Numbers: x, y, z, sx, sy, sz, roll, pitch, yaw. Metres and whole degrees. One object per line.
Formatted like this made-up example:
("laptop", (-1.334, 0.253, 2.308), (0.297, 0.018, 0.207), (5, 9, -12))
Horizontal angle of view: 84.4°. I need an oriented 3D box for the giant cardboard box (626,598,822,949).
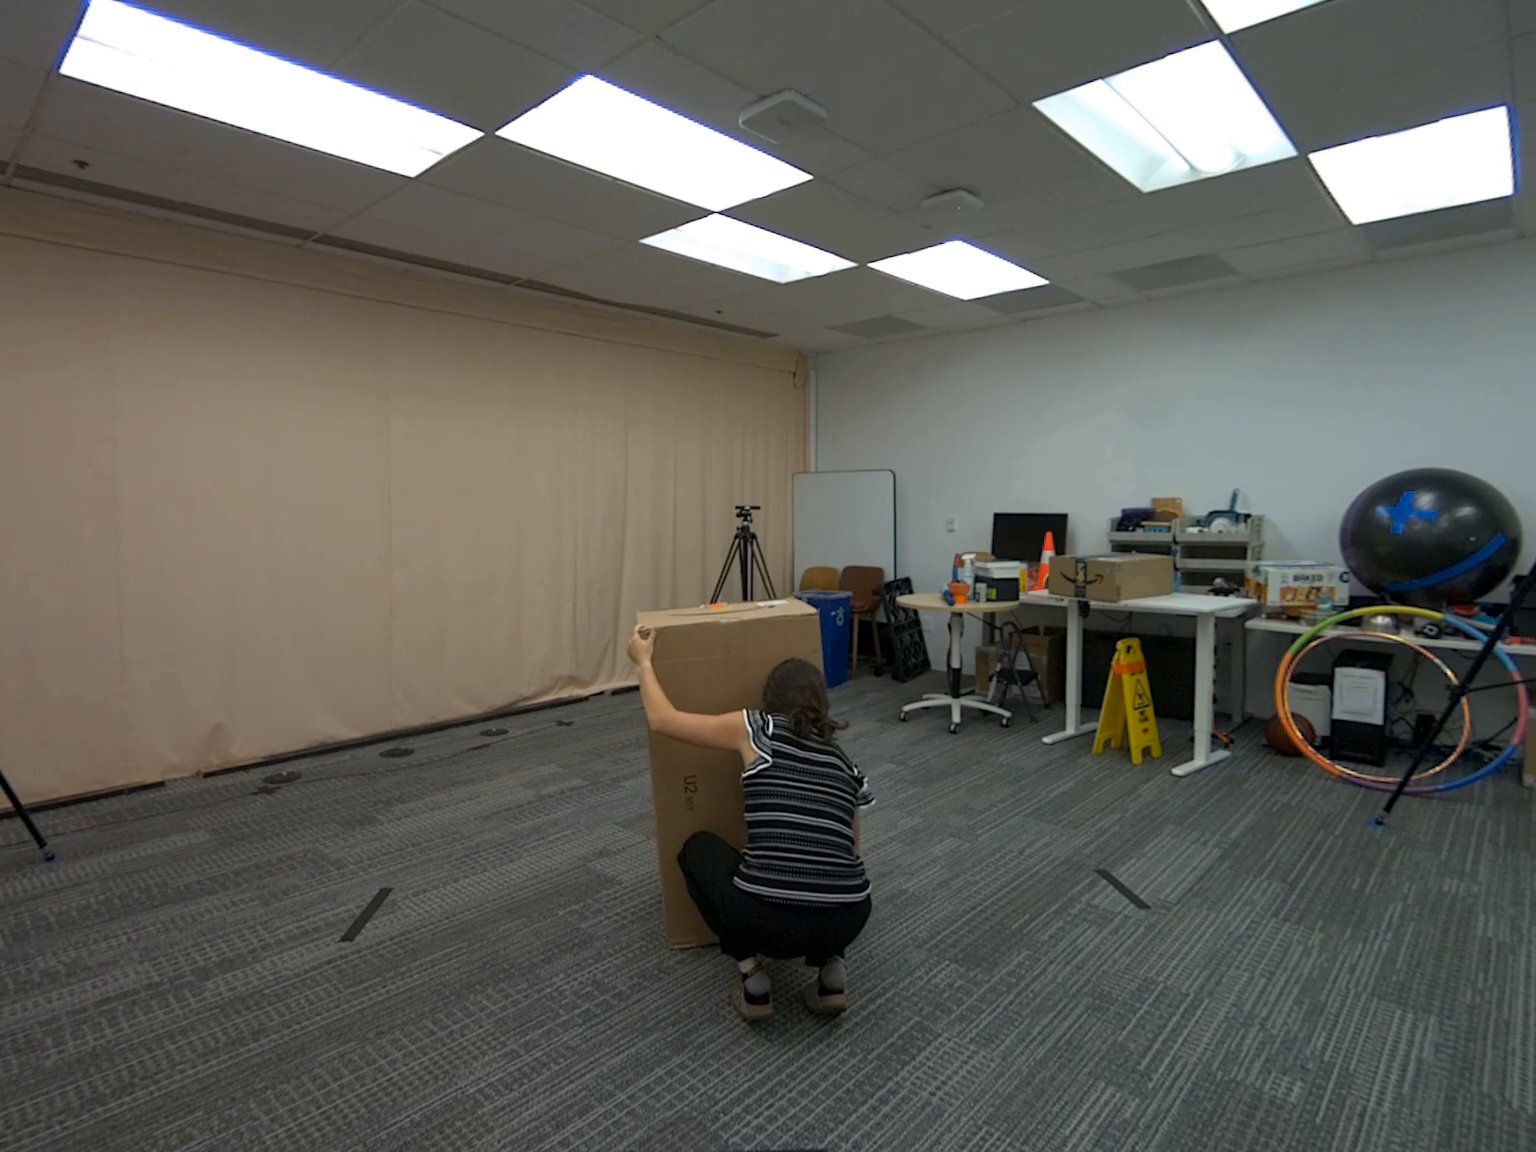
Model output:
("giant cardboard box", (-0.111, 0.627, 2.853), (0.573, 1.023, 0.431), (-5, 4, -8))
